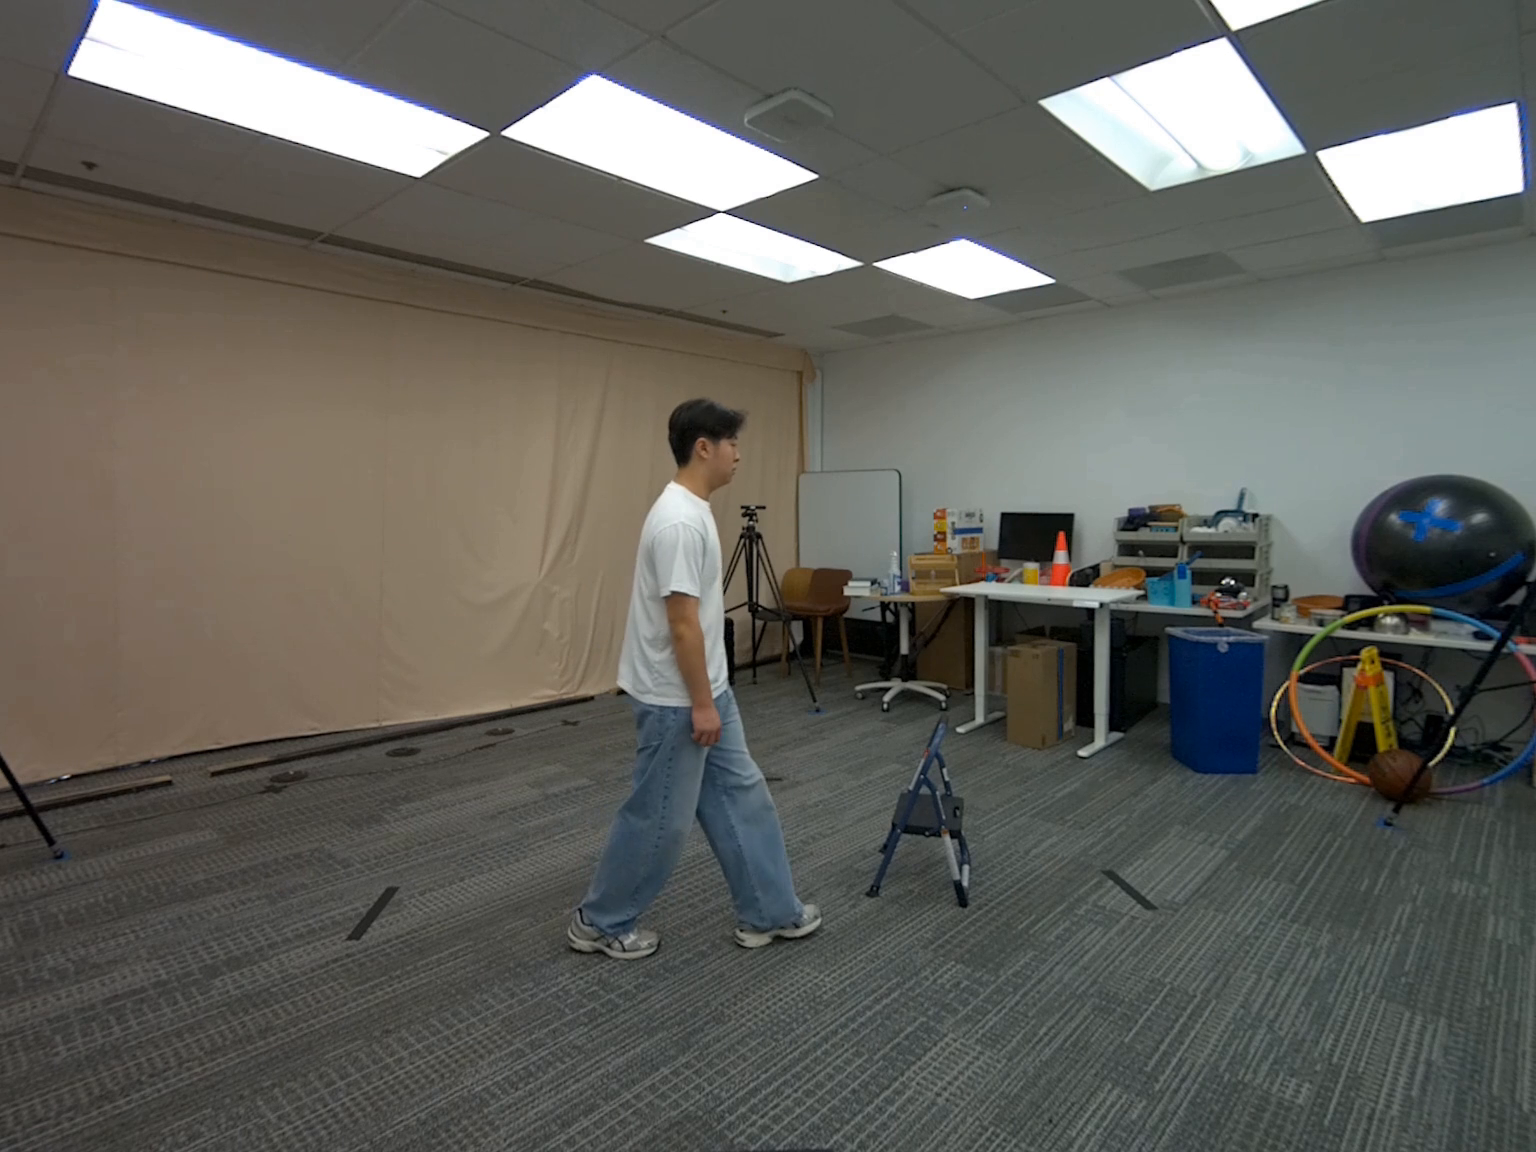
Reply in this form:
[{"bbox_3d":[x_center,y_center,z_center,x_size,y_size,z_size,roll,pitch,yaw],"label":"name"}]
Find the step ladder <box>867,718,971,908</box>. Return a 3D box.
[{"bbox_3d":[0.576,0.825,3.134,0.355,0.605,0.424,1,3,16],"label":"step ladder"}]
